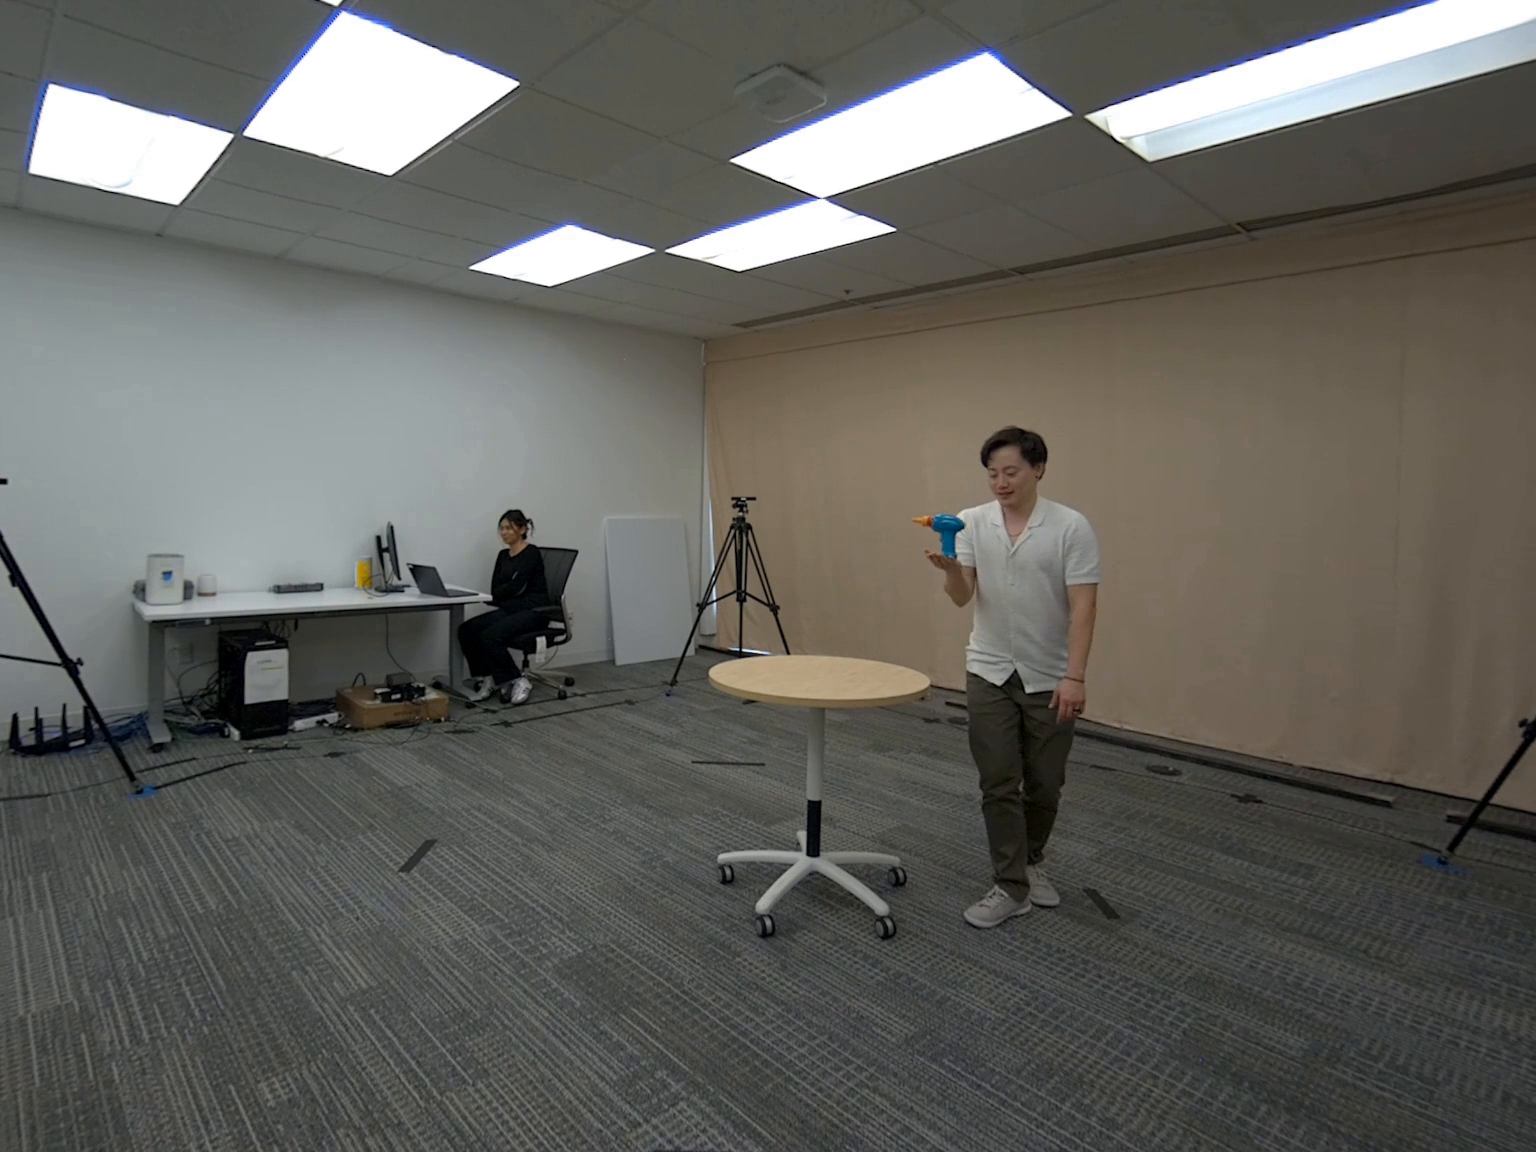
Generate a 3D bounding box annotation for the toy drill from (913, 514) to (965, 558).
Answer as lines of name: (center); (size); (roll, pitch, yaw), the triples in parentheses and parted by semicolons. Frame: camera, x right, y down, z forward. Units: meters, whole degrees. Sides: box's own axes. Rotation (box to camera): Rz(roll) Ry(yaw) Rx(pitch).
toy drill: (0.536, -0.131, 2.694); (0.173, 0.145, 0.060); (8, 7, 20)
